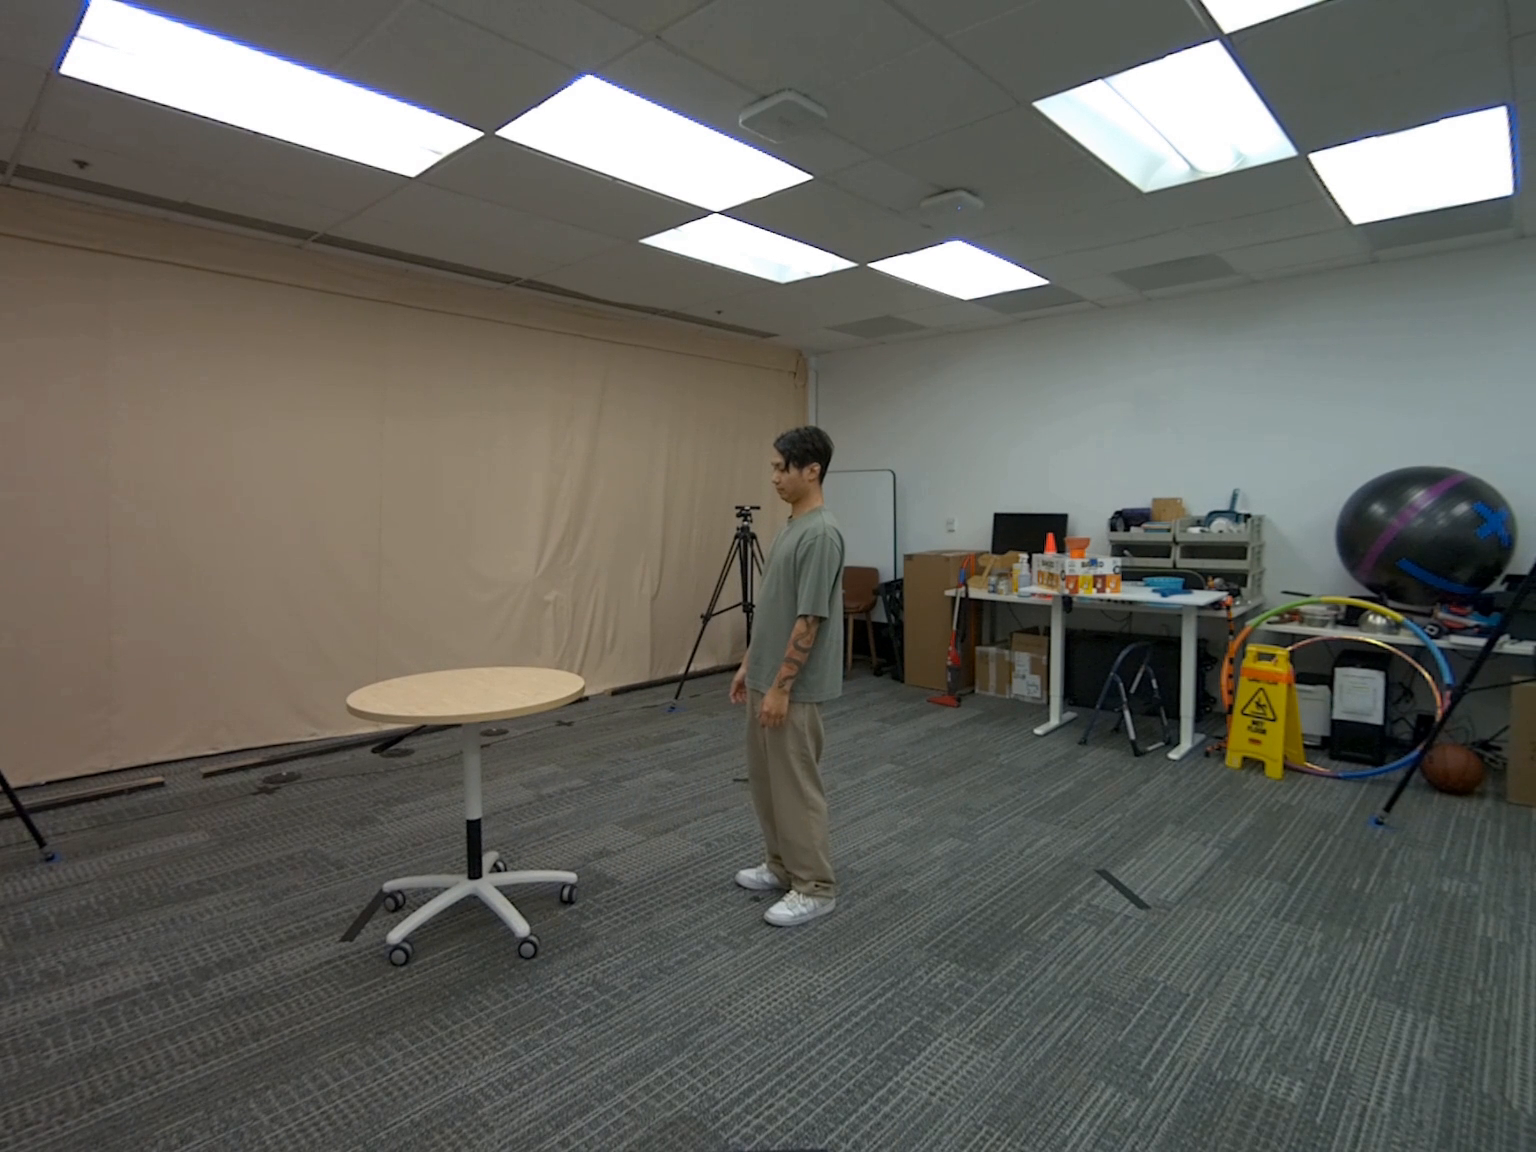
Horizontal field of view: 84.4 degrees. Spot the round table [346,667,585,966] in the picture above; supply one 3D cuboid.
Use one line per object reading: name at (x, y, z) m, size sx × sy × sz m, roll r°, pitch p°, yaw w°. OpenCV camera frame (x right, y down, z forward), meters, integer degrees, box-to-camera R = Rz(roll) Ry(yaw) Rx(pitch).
round table at (-0.995, 0.773, 2.857) m, size 0.784 × 0.785 × 0.788 m, roll -1°, pitch 4°, yaw -2°
